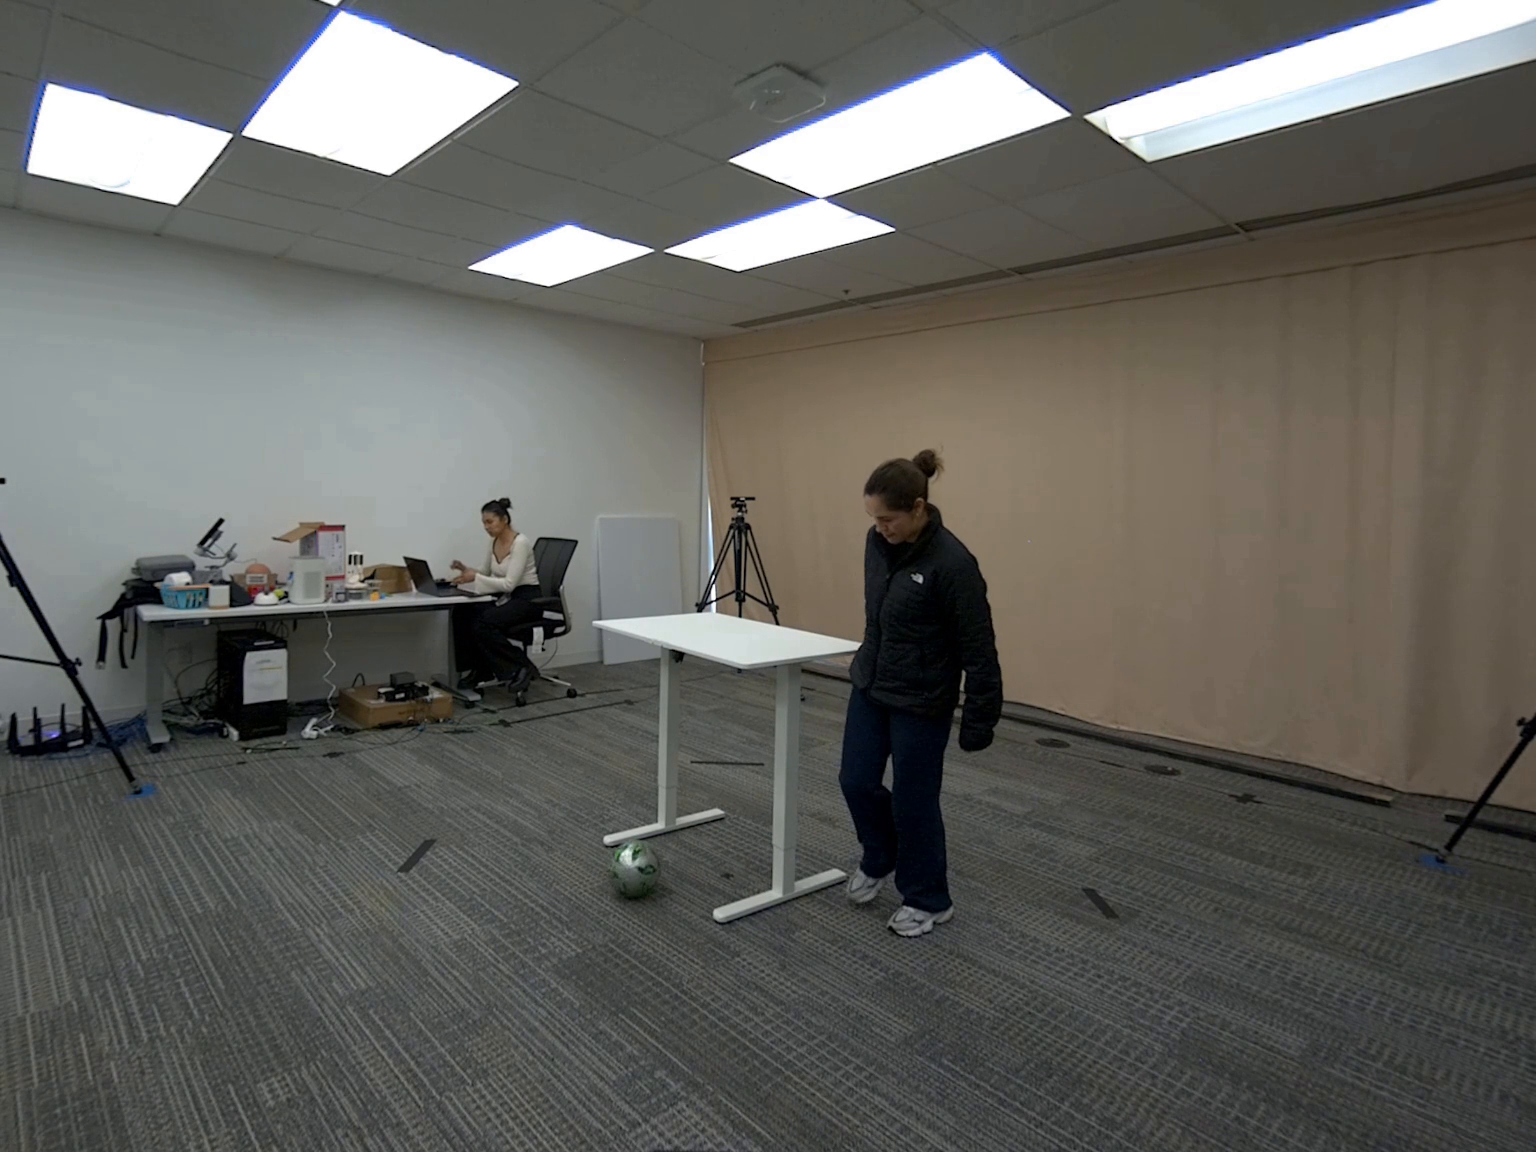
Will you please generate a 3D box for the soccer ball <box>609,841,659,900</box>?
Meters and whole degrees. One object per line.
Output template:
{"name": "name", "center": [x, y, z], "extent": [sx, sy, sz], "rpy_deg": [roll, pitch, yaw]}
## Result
{"name": "soccer ball", "center": [-0.470, 1.011, 2.940], "extent": [0.187, 0.187, 0.188], "rpy_deg": [1, 4, -1]}
